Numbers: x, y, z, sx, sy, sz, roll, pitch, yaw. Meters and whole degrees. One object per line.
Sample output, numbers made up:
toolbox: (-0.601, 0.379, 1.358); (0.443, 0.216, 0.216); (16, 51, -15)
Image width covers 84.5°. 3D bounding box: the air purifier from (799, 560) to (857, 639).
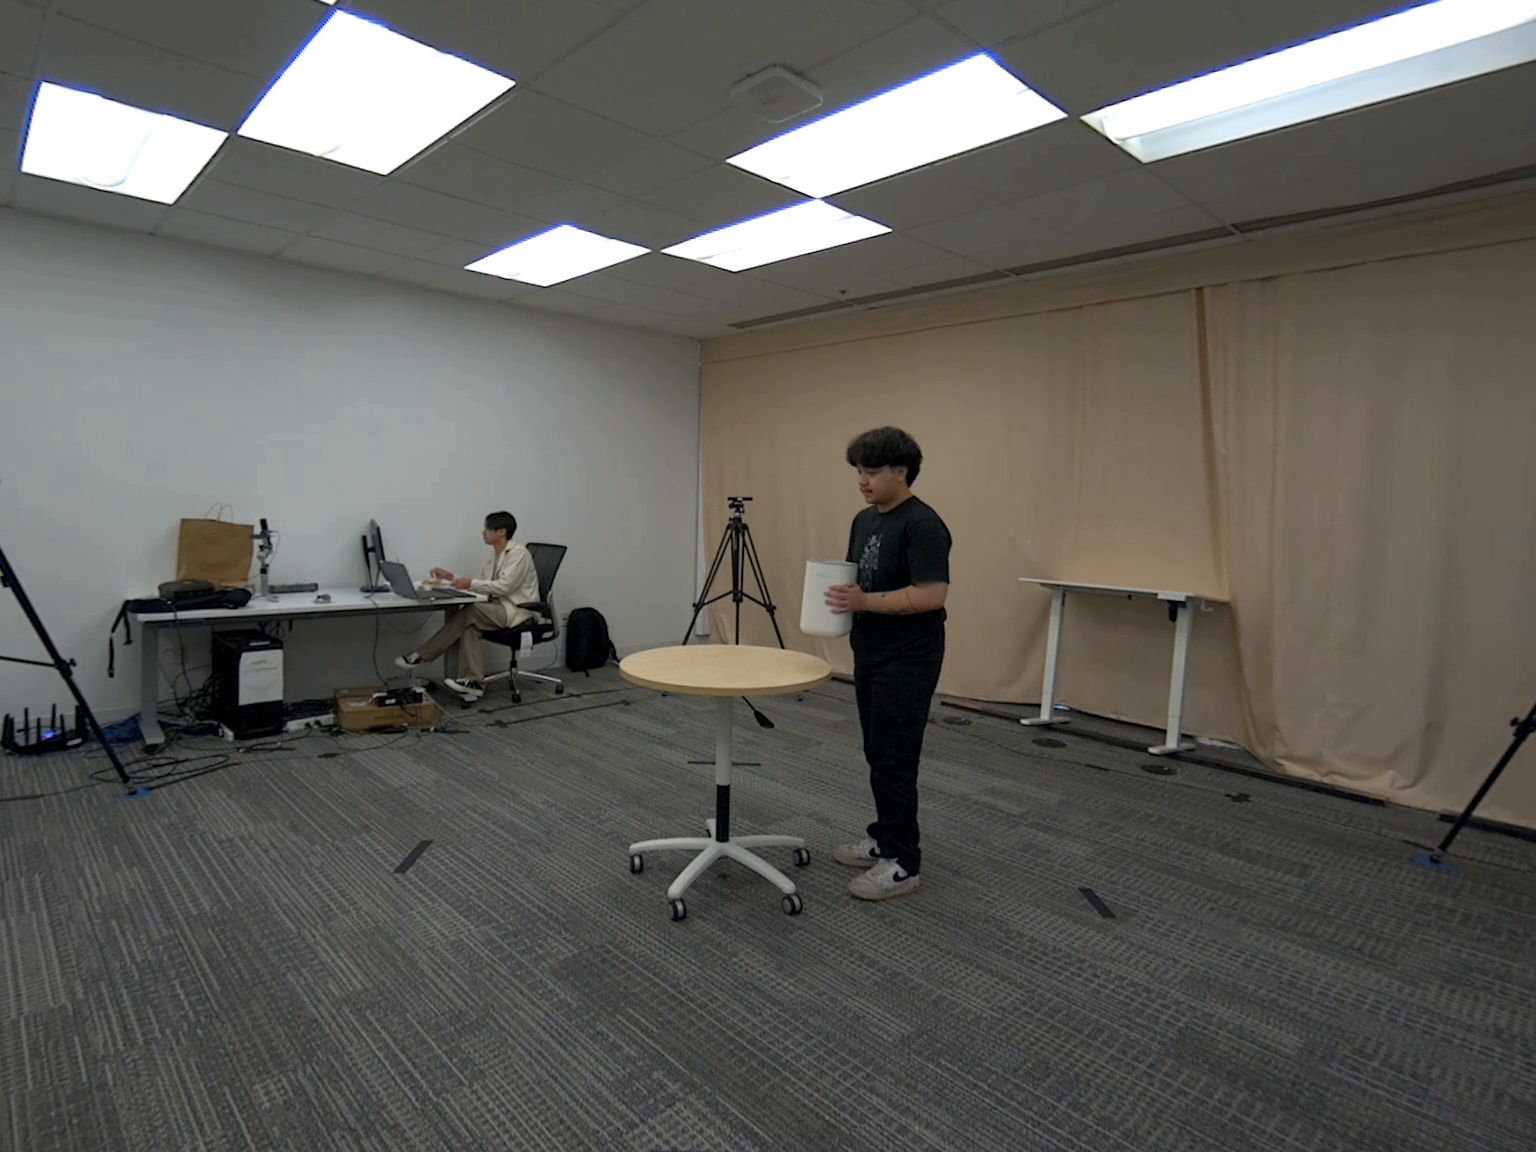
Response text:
air purifier: (0.221, 0.080, 3.042); (0.174, 0.264, 0.169); (7, 4, 18)
